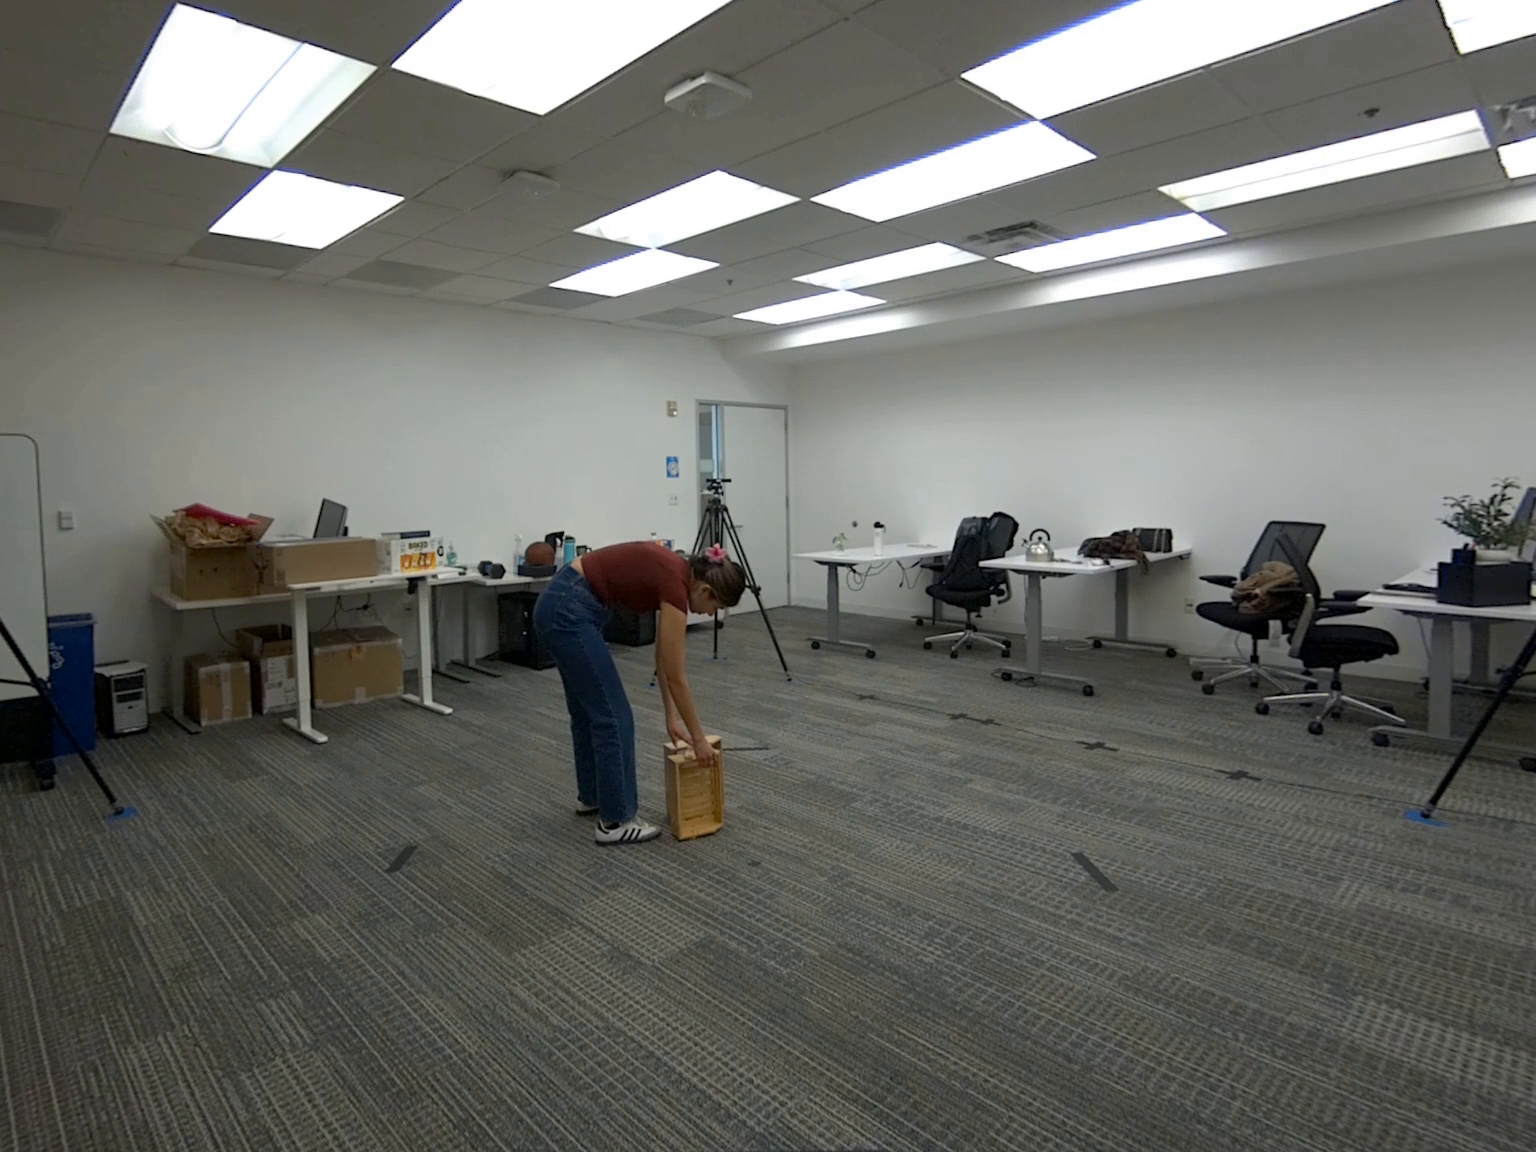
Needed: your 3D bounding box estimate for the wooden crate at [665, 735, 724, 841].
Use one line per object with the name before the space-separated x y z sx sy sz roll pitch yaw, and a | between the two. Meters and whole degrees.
wooden crate | -0.274 0.840 3.457 0.296 0.323 0.280 -5 5 -26
